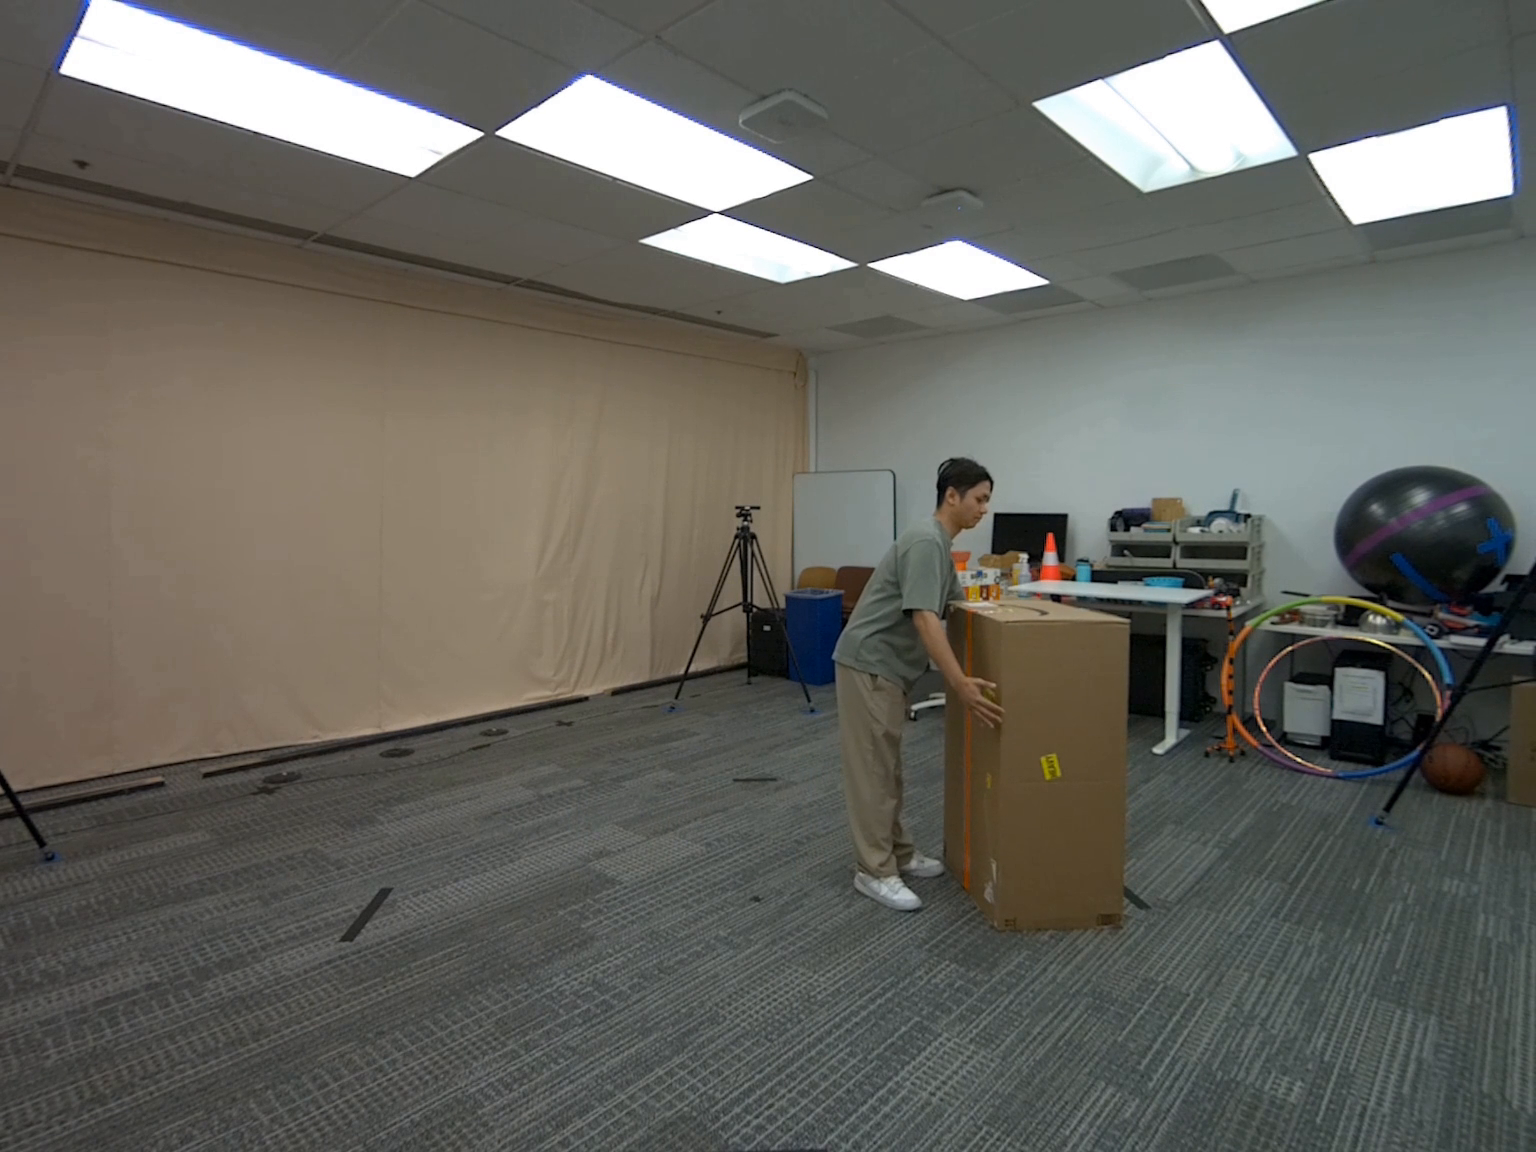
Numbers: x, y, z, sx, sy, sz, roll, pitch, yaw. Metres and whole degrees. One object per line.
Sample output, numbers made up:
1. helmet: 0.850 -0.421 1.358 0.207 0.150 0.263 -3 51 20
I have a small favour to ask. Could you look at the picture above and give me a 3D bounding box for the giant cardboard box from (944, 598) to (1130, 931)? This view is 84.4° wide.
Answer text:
1. giant cardboard box: 0.933 0.633 3.016 0.424 1.024 0.582 0 3 -6
